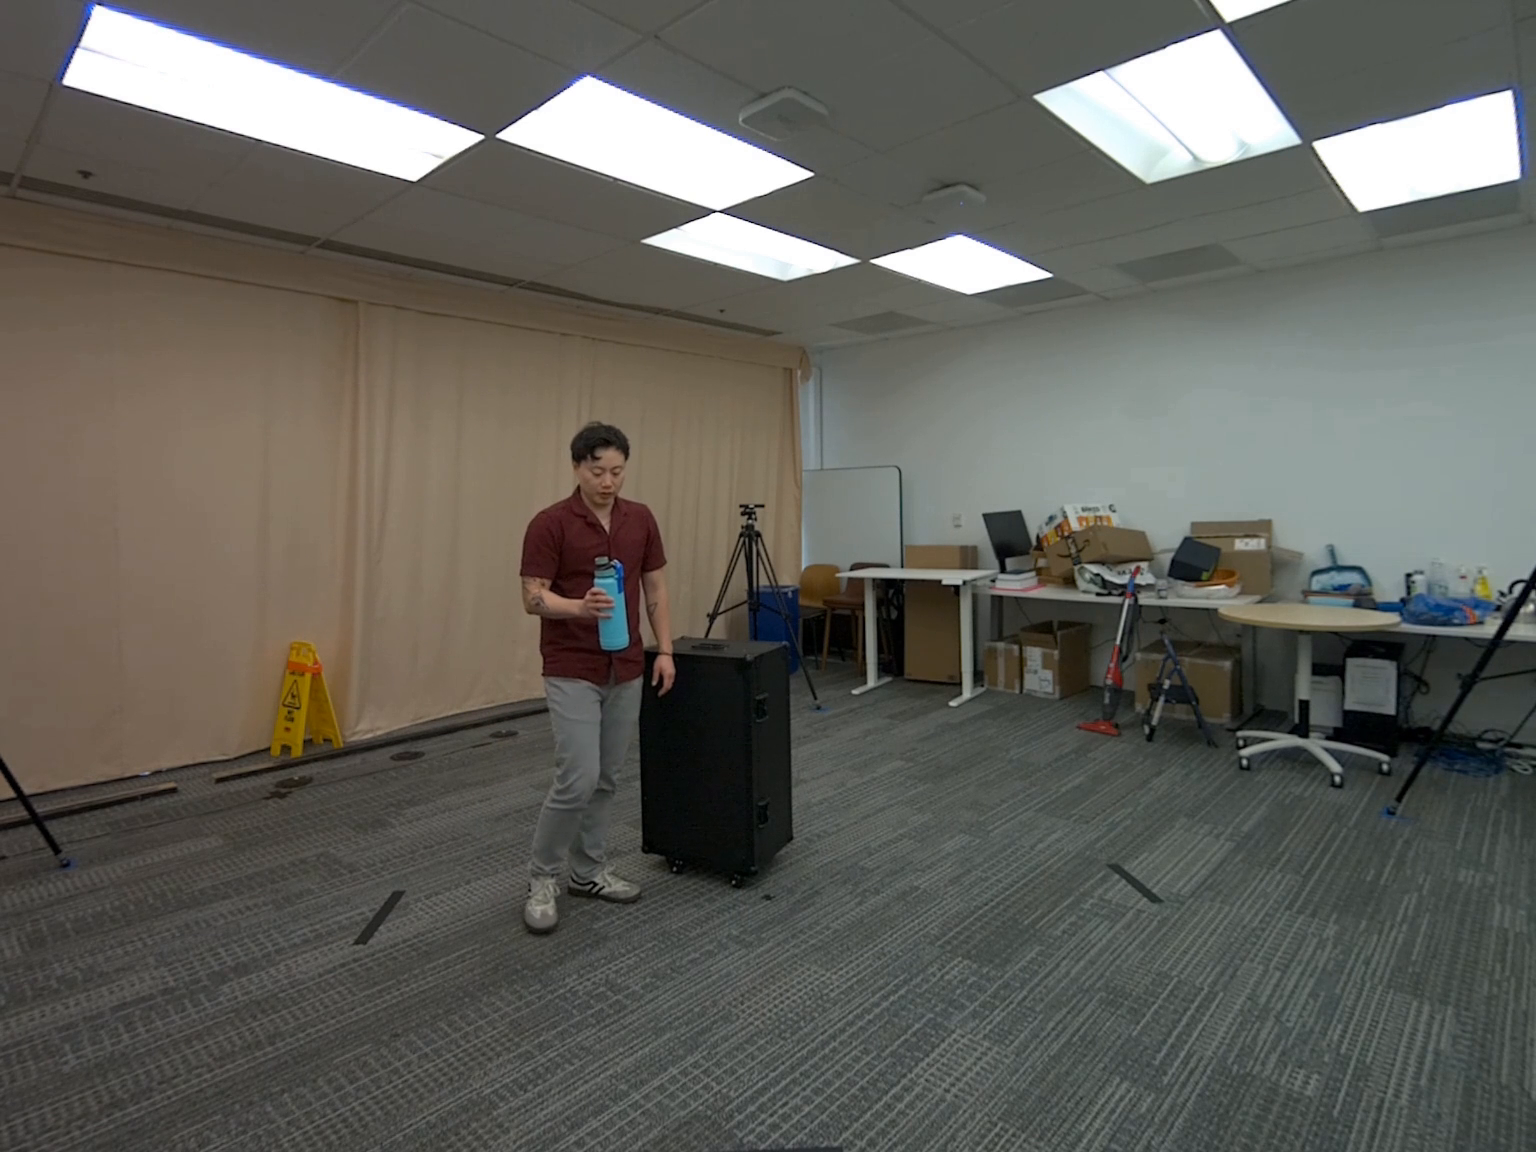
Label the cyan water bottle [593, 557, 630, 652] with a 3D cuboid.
[{"bbox_3d":[-0.492,0.082,2.625,0.092,0.281,0.093,0,12,-2],"label":"cyan water bottle"}]
